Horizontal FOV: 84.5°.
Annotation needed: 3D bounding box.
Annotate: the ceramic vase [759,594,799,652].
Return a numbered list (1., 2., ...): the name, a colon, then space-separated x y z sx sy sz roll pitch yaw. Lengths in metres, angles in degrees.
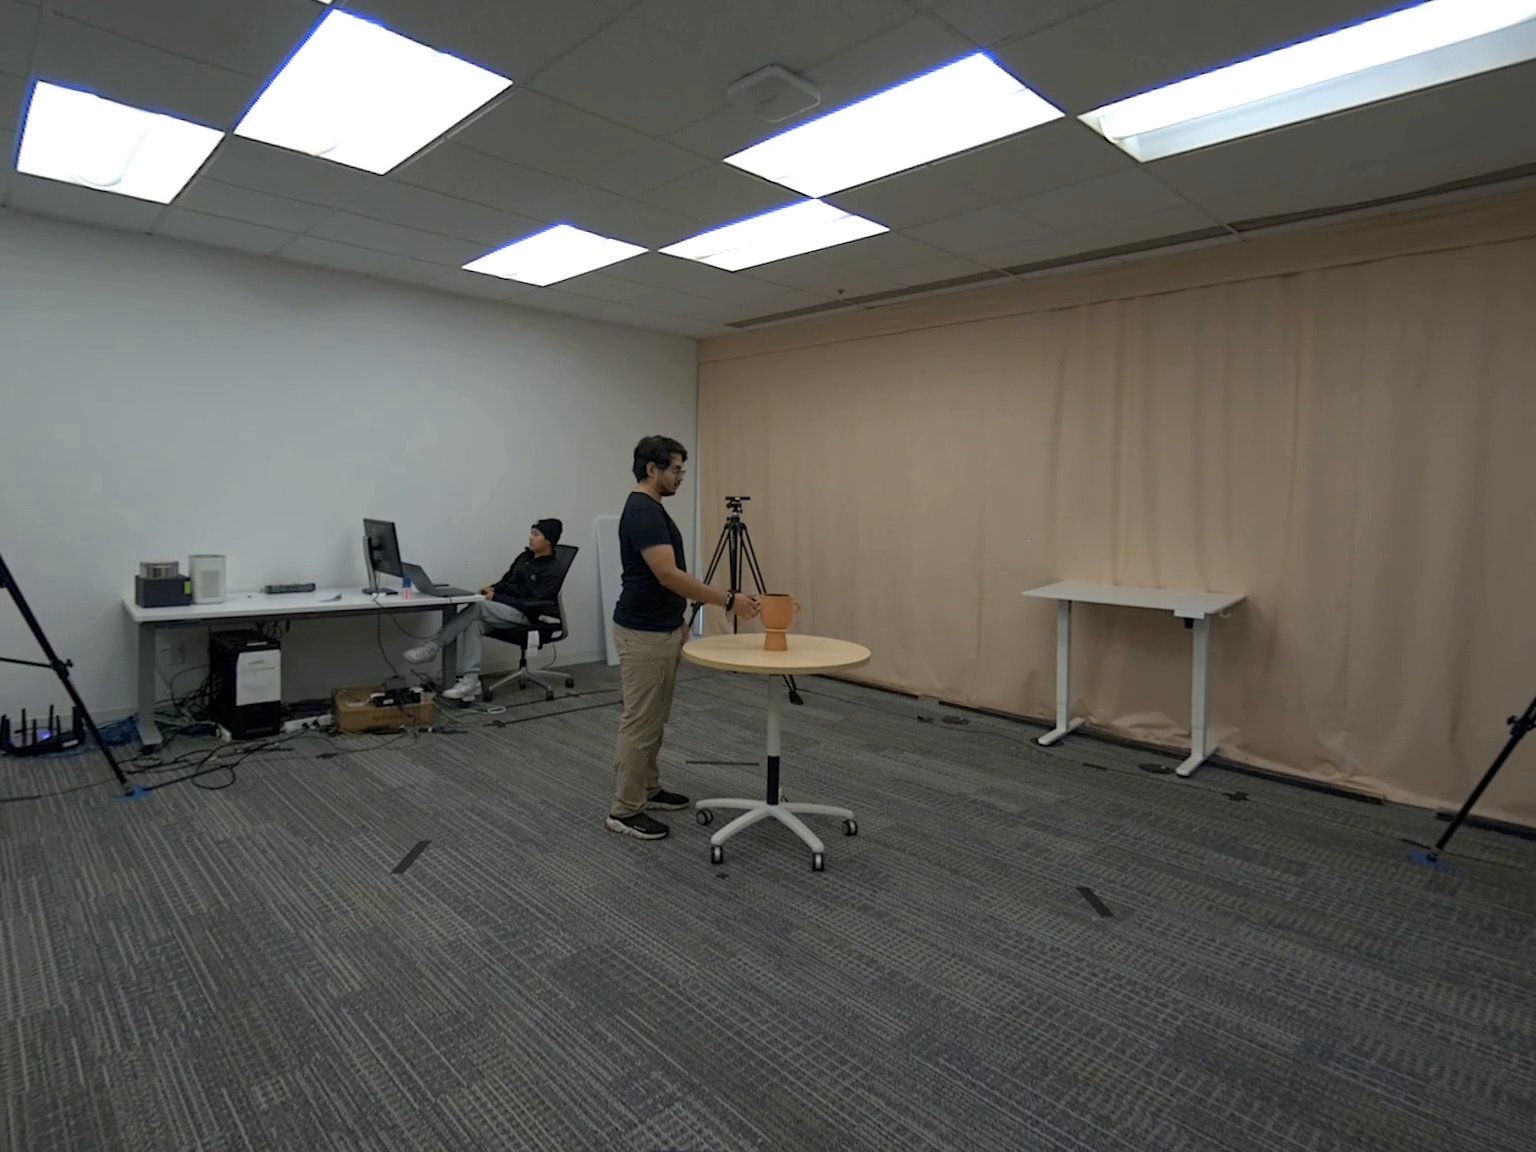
1. ceramic vase: 0.020 0.186 3.430 0.163 0.219 0.132 3 6 37
